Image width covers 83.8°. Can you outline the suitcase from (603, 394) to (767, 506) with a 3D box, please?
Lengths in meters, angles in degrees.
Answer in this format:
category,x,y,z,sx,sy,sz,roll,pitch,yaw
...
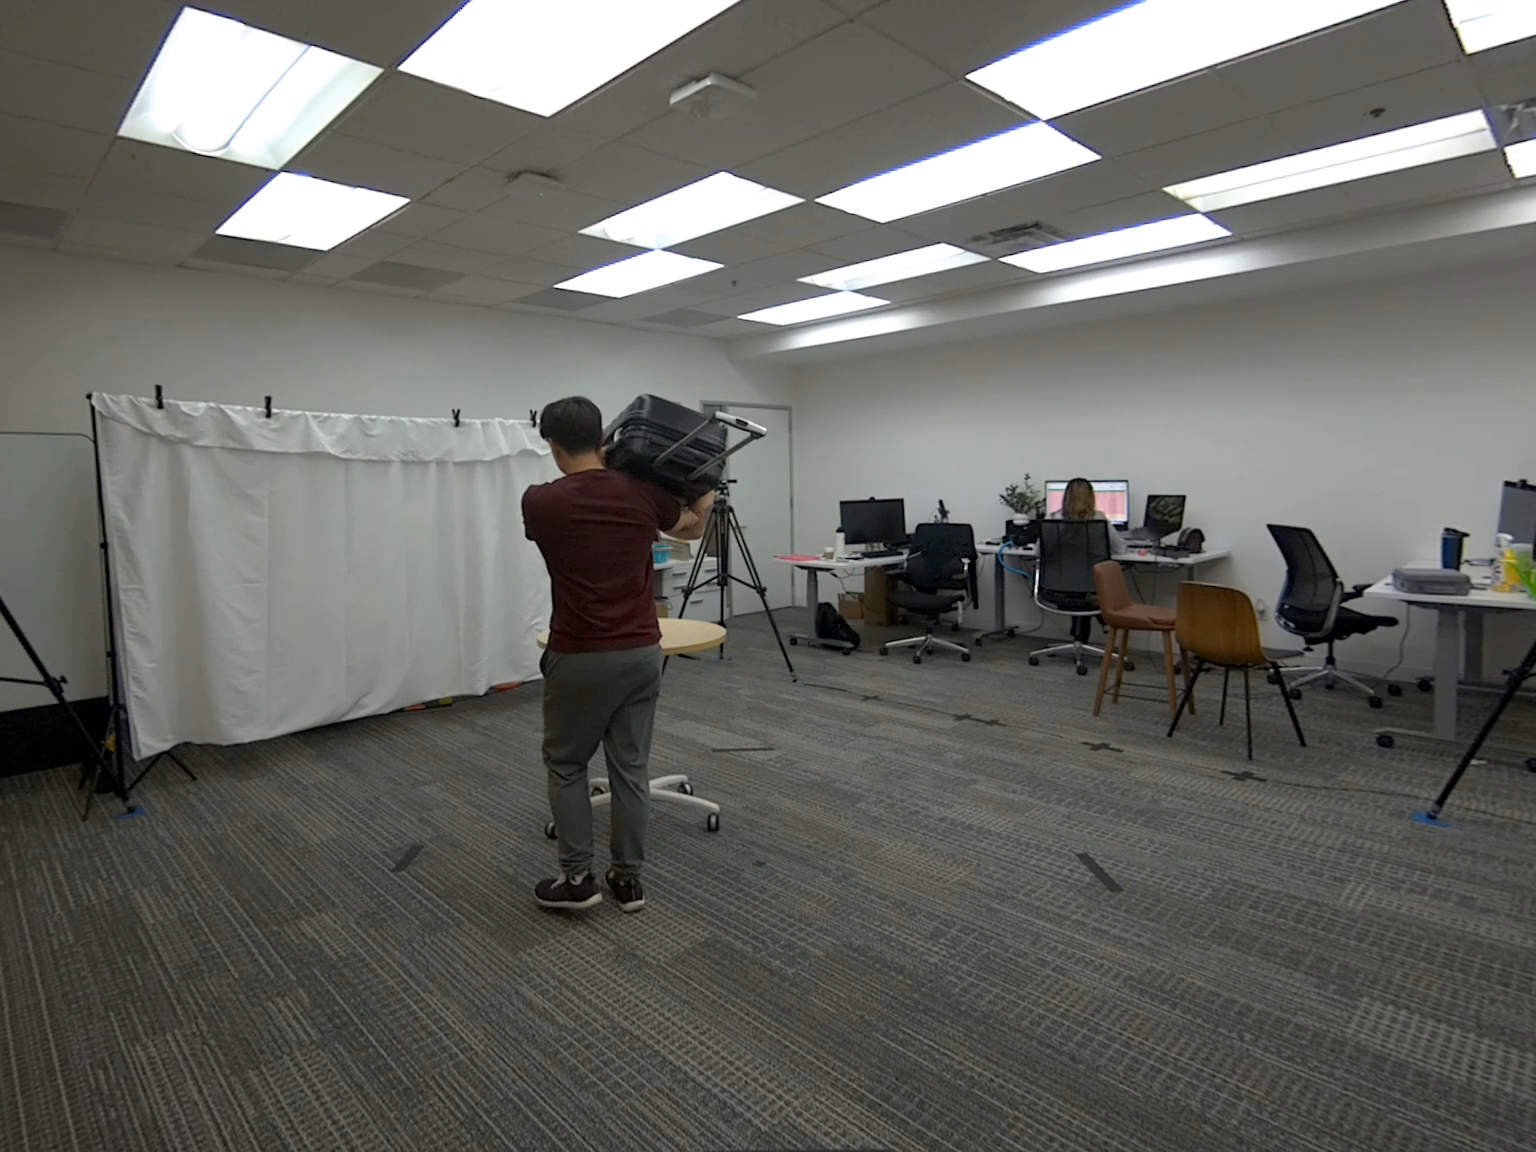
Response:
category,x,y,z,sx,sy,sz,roll,pitch,yaw
suitcase,-0.292,-0.438,2.786,0.374,0.260,0.992,18,-18,-25
